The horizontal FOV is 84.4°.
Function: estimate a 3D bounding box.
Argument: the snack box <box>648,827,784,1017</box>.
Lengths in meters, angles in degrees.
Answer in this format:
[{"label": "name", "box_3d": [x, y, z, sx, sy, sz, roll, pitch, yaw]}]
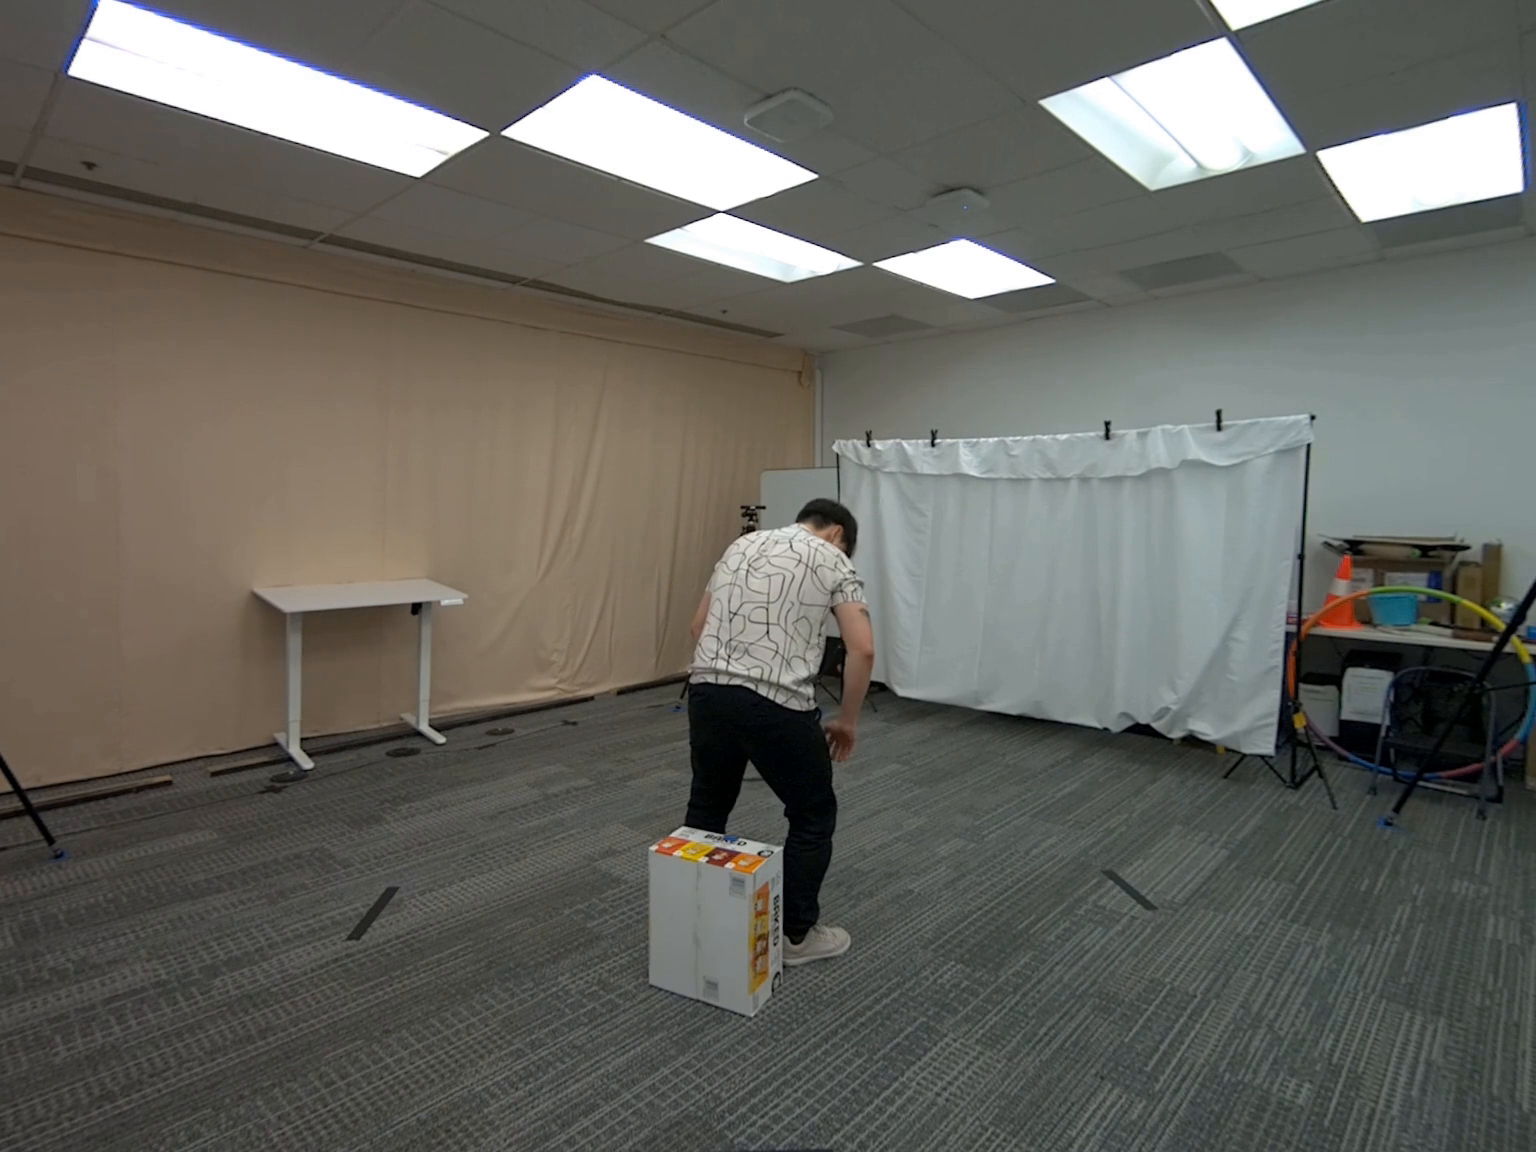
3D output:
[{"label": "snack box", "box_3d": [-0.149, 0.986, 2.440, 0.350, 0.404, 0.200, 2, 3, 28]}]
